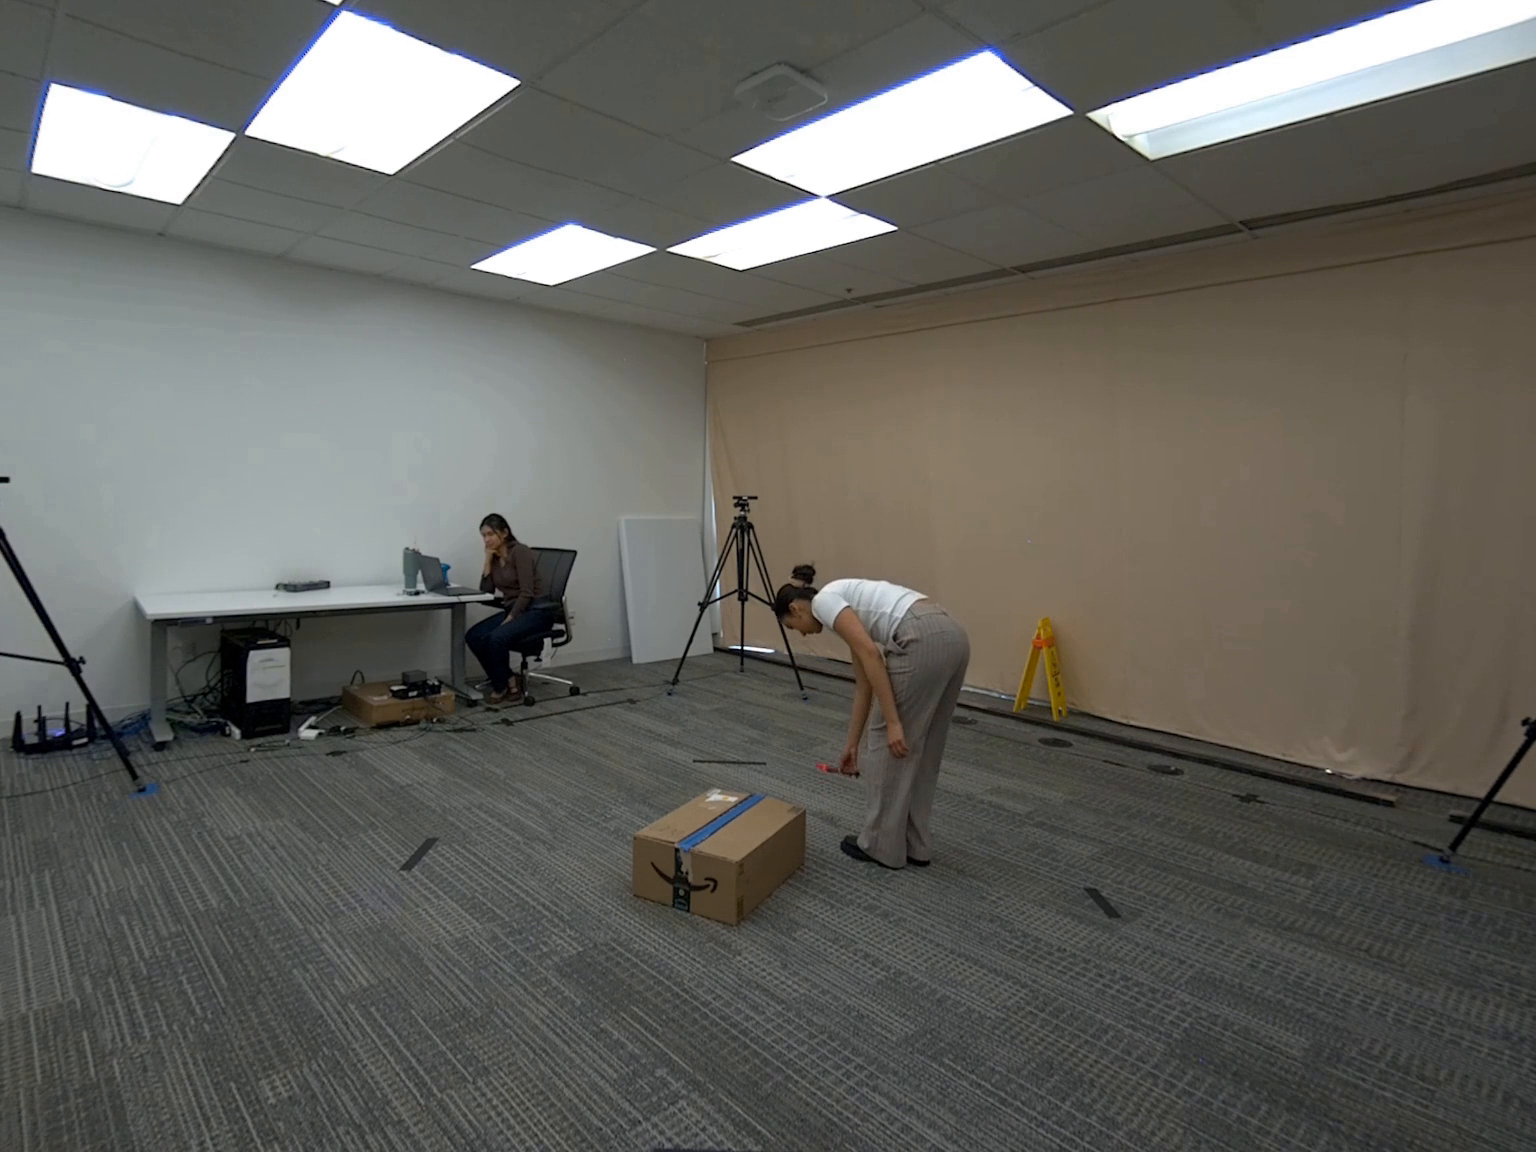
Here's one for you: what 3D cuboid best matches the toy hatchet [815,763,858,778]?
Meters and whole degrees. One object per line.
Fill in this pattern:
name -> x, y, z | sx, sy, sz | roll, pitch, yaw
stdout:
toy hatchet -> 0.312, 0.842, 3.606 | 0.127, 0.030, 0.276 | 24, -14, -31
